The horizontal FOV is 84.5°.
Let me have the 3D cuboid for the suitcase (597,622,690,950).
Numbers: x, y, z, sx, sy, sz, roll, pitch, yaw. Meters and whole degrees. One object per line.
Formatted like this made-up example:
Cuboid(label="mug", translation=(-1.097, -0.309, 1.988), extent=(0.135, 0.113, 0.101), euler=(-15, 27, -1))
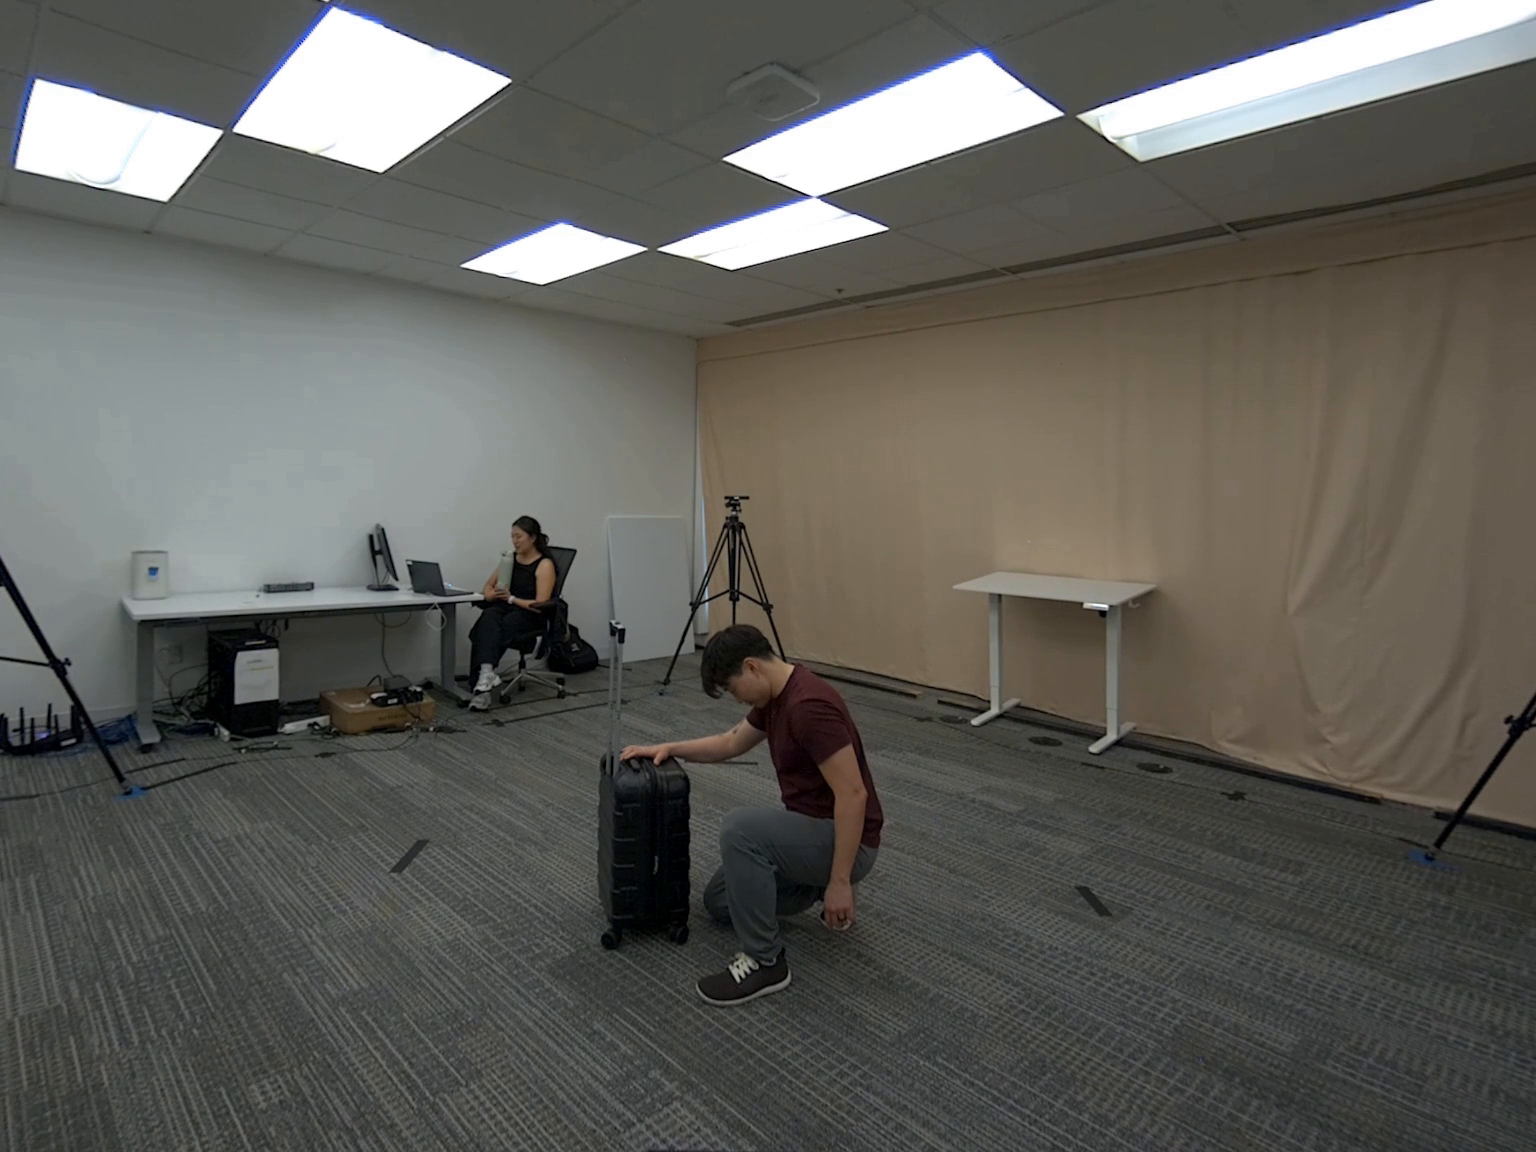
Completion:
Cuboid(label="suitcase", translation=(-0.406, 0.651, 2.735), extent=(0.254, 0.976, 0.389), euler=(1, 4, -15))
